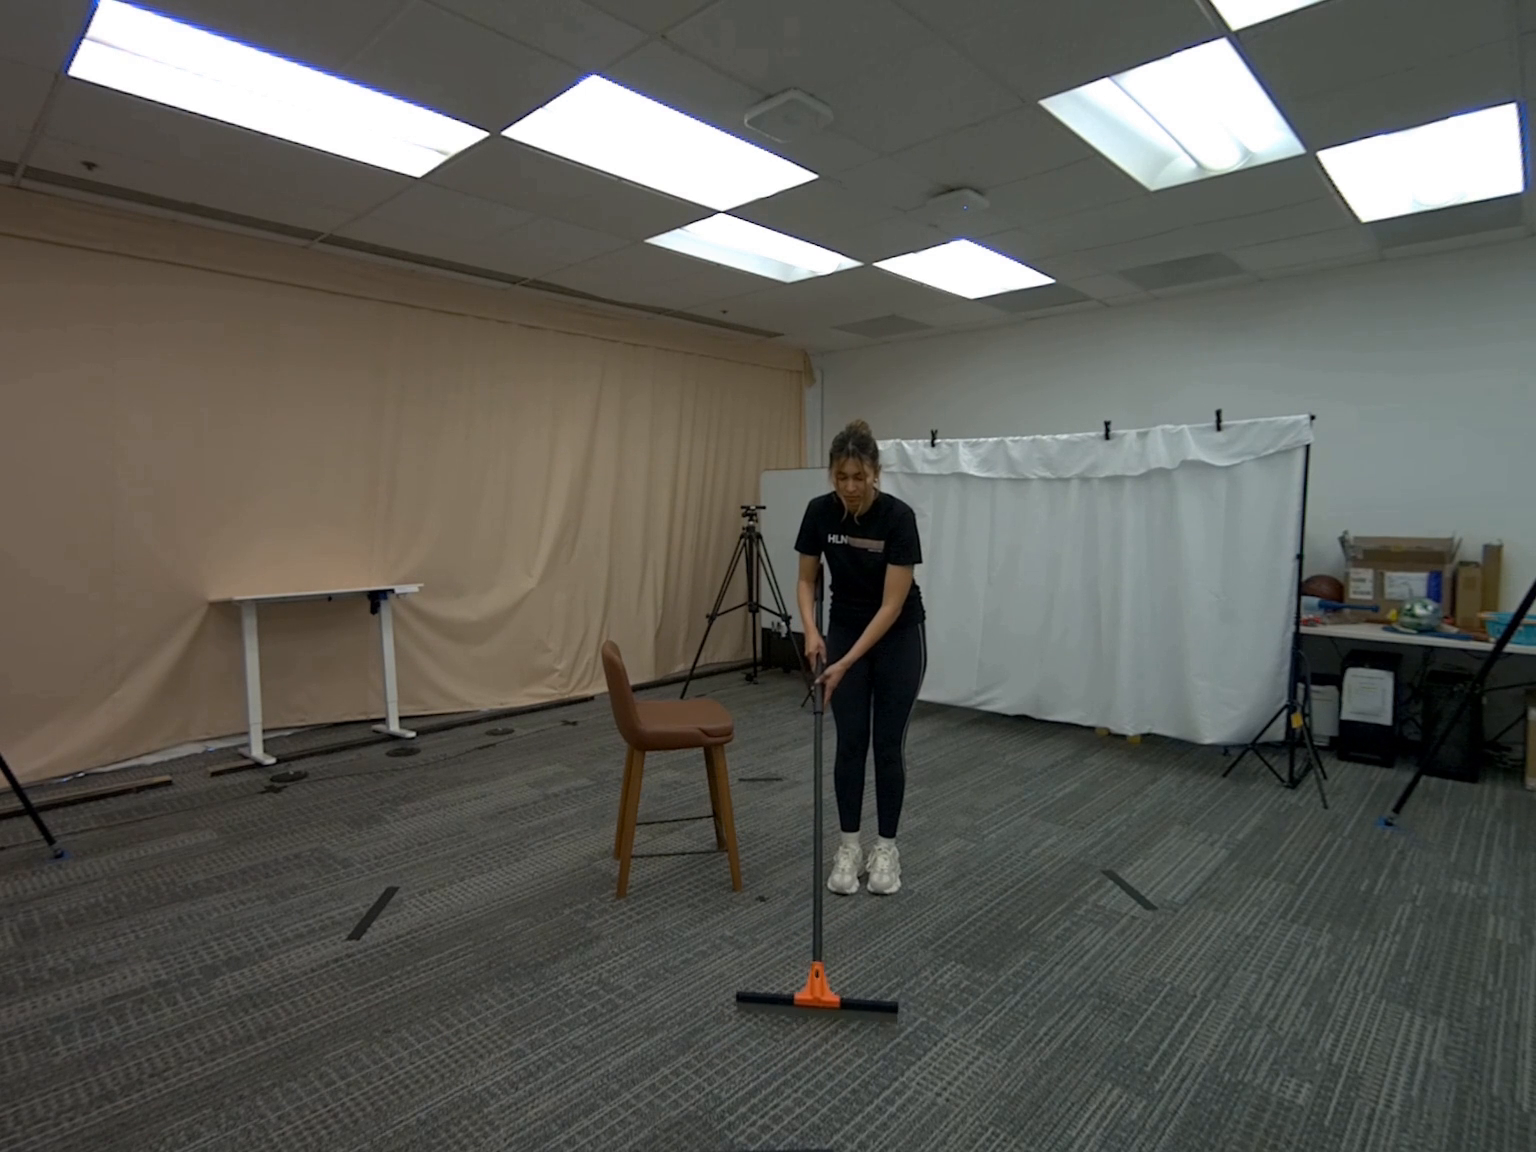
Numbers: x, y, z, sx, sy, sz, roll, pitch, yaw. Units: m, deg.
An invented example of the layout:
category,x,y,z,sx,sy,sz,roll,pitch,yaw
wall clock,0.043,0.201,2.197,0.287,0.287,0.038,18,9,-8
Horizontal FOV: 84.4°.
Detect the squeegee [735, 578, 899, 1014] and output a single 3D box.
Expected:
category,x,y,z,sx,sy,sz,roll,pitch,yaw
squeegee,0.182,0.559,2.712,0.441,1.561,0.052,-2,-38,7
